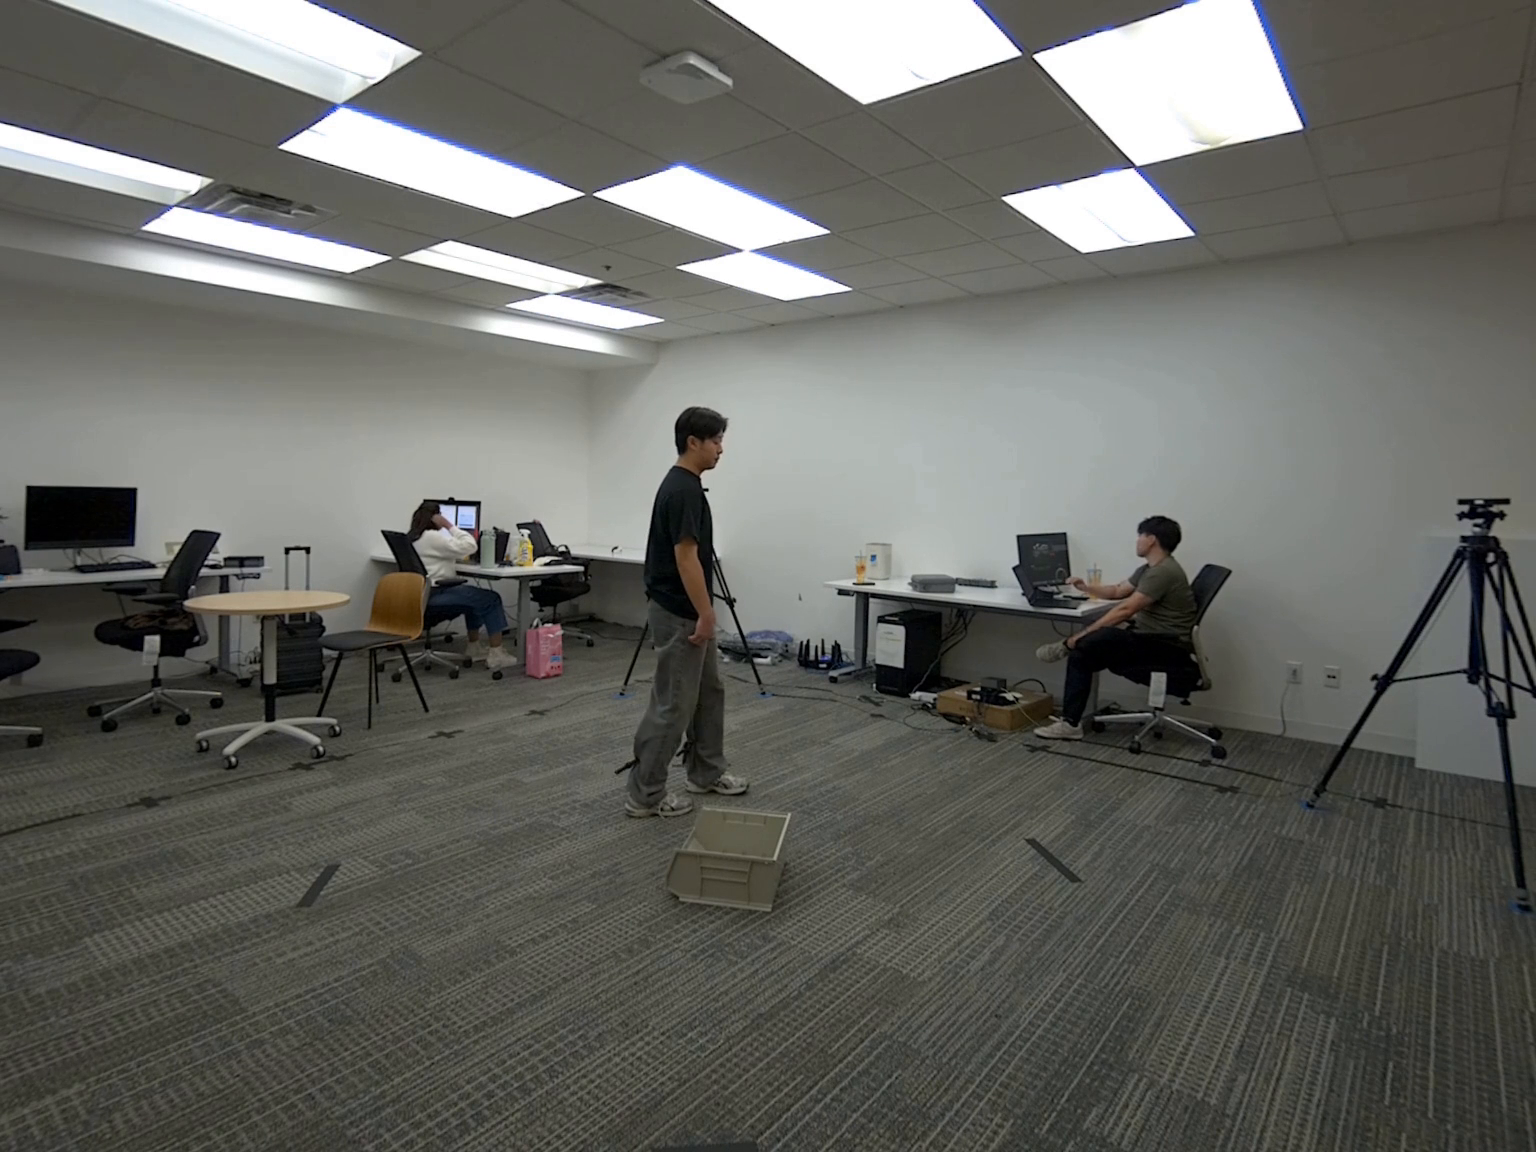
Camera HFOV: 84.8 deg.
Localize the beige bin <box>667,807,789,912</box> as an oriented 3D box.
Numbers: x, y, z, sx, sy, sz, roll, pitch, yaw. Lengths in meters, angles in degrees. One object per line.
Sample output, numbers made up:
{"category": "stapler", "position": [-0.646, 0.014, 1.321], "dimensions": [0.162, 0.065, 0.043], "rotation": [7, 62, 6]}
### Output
{"category": "beige bin", "position": [-0.141, 0.988, 3.027], "dimensions": [0.382, 0.188, 0.419], "rotation": [3, 5, 9]}
